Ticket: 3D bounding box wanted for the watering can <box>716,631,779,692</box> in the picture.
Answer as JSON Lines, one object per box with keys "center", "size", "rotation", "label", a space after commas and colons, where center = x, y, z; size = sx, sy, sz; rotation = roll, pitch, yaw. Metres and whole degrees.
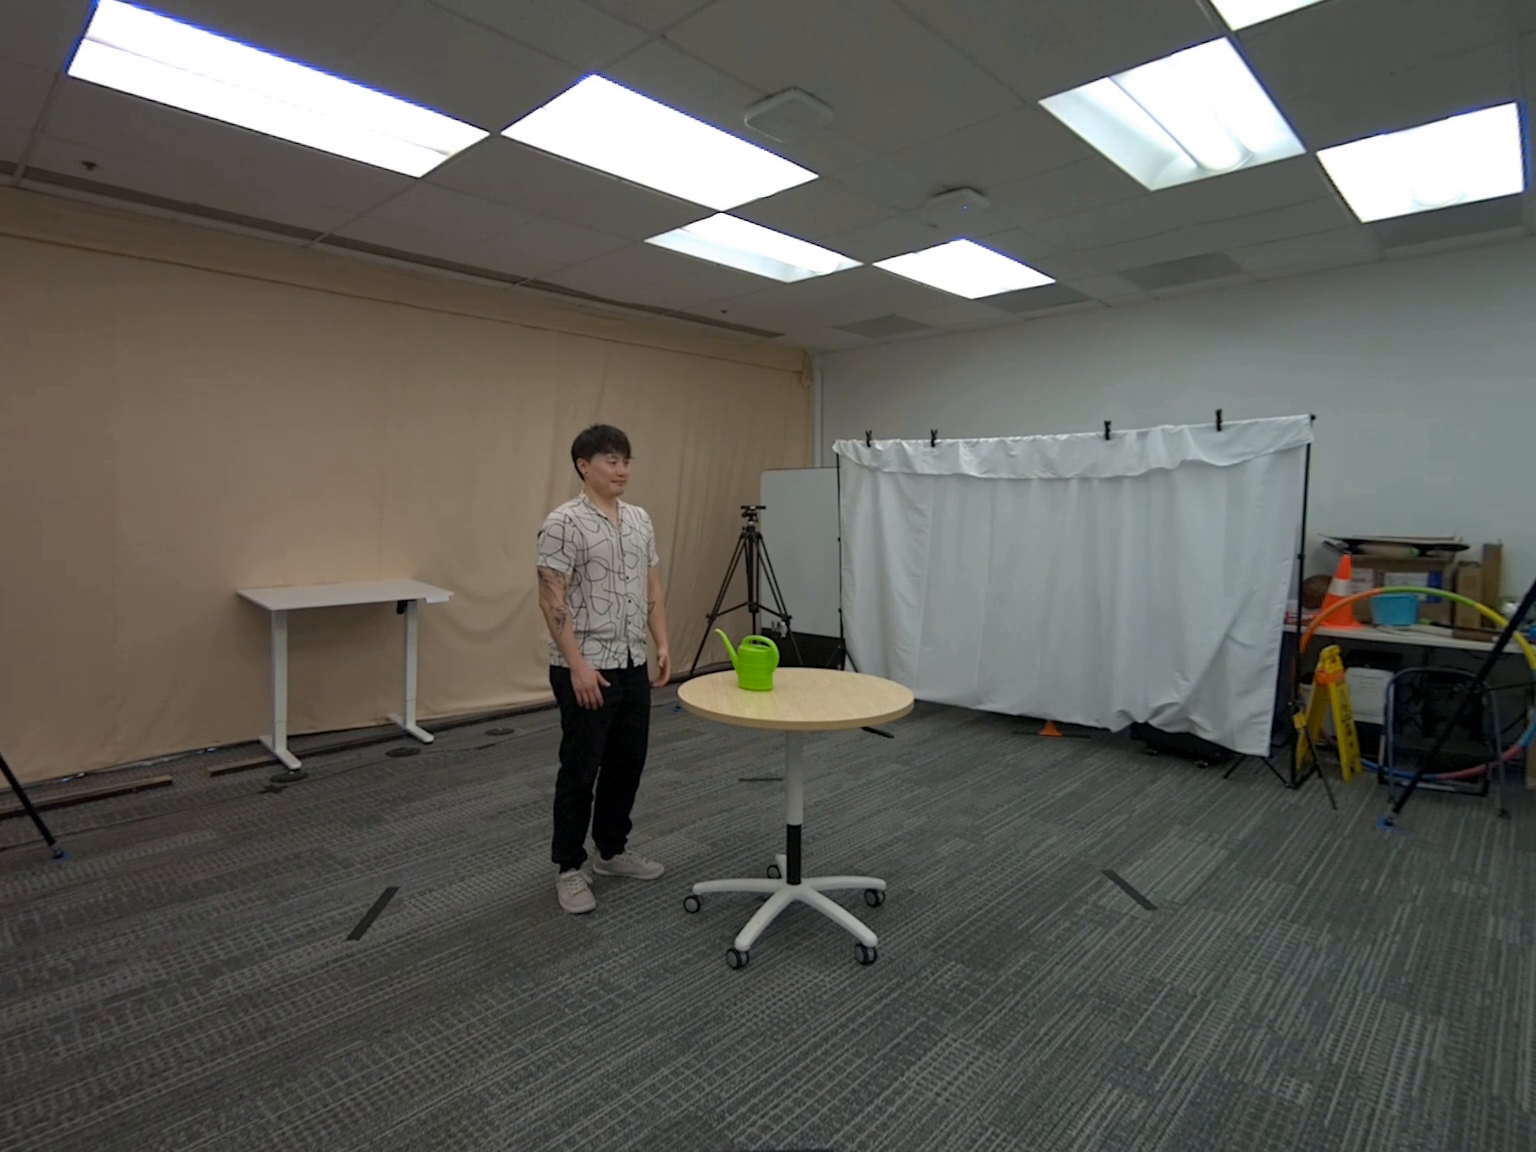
{"center": [-0.060, 0.282, 2.828], "size": [0.095, 0.176, 0.288], "rotation": [-2, 7, -38], "label": "watering can"}
